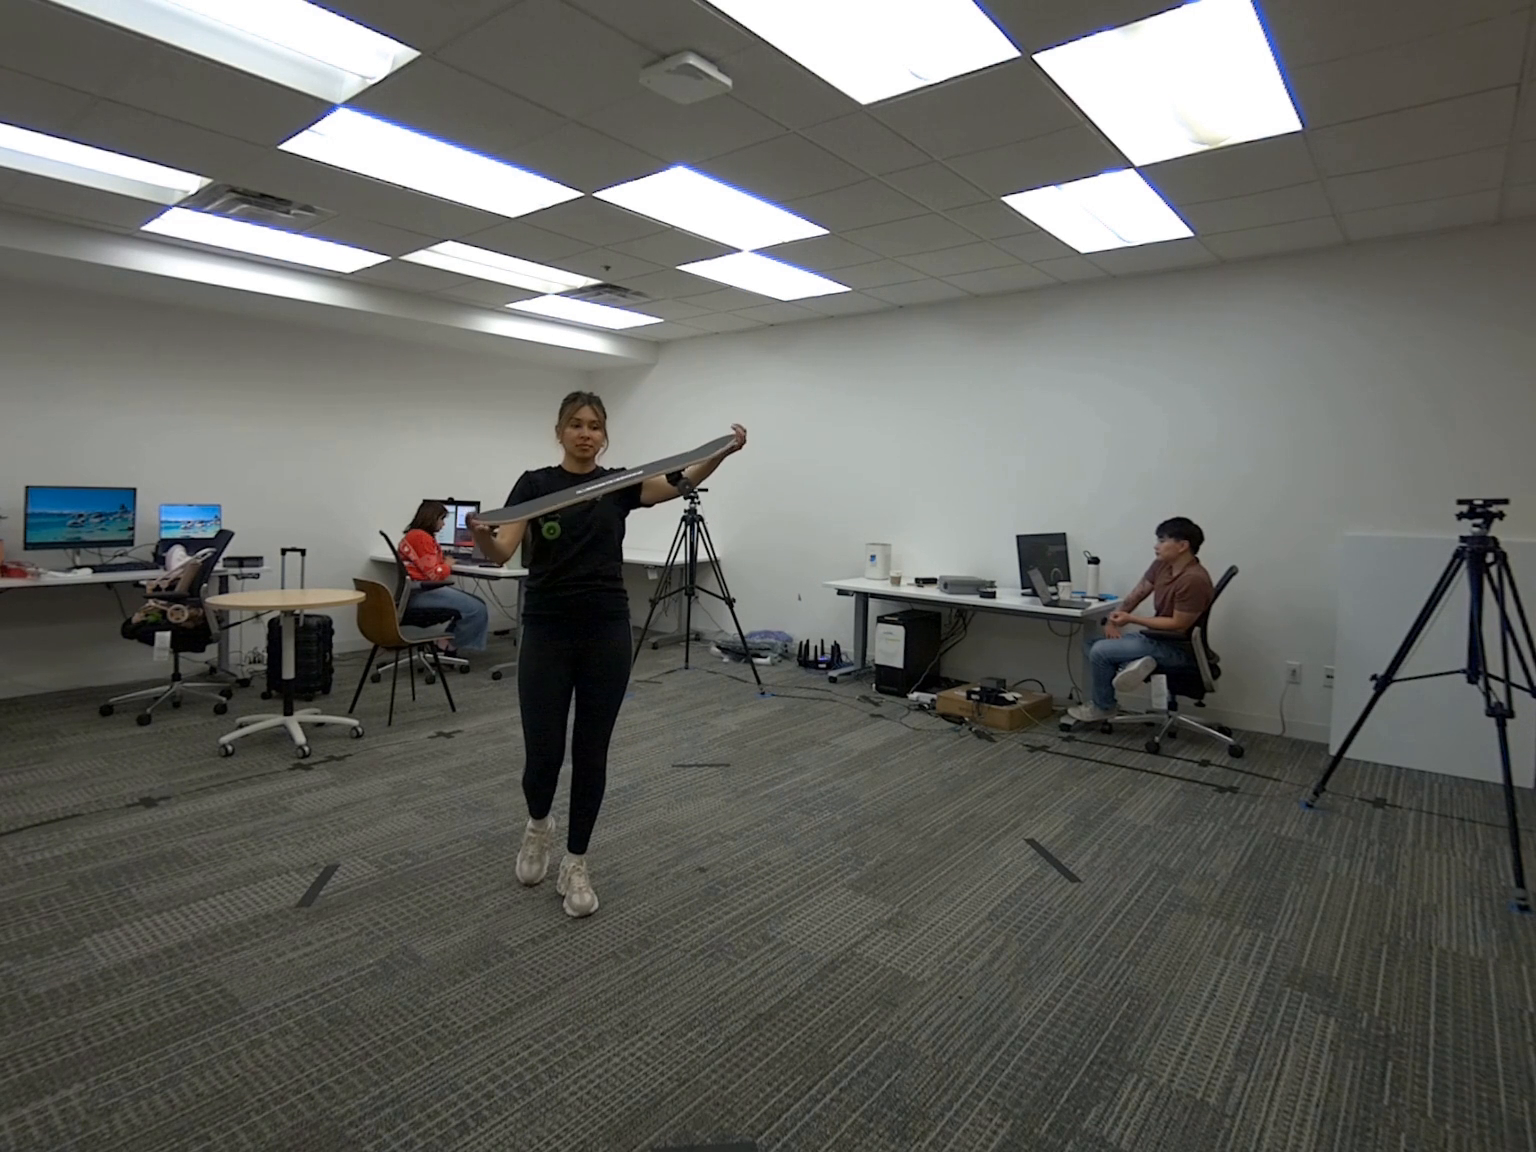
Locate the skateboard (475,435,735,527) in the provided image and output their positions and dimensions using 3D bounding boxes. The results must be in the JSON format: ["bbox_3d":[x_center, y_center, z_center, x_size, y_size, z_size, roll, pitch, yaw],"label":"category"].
[{"bbox_3d":[-0.455,-0.239,2.457,0.780,0.108,0.199,-21,18,-10],"label":"skateboard"}]
